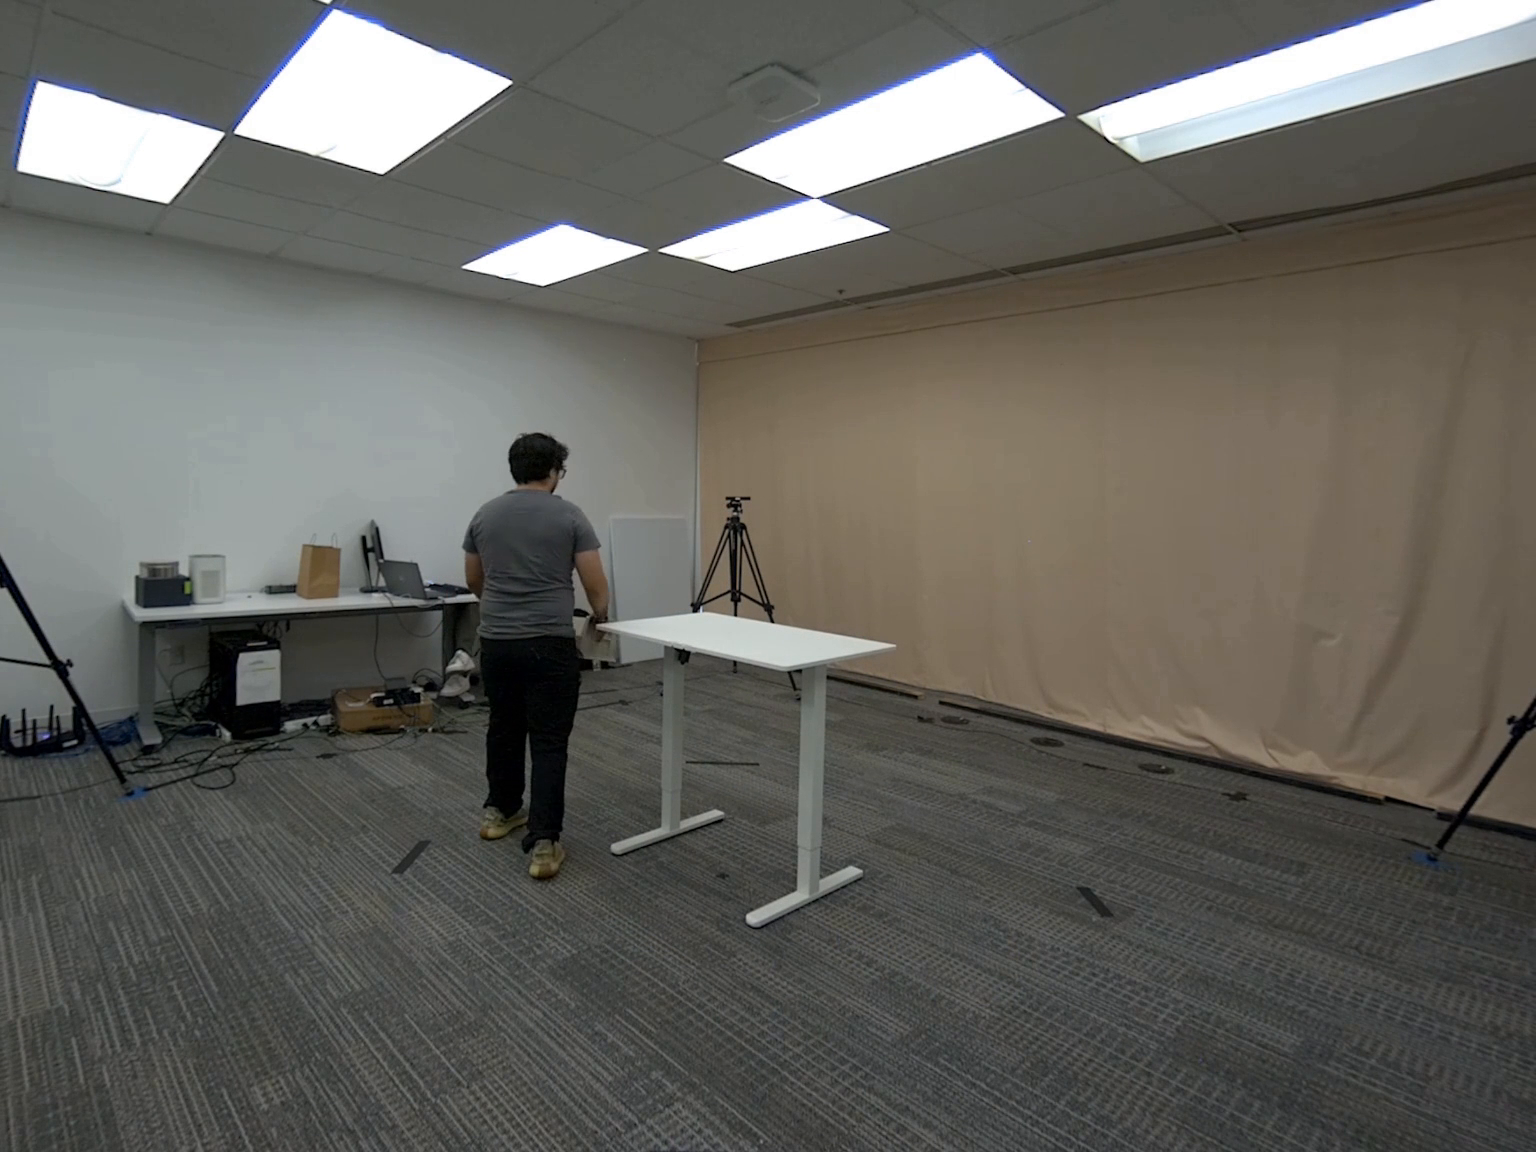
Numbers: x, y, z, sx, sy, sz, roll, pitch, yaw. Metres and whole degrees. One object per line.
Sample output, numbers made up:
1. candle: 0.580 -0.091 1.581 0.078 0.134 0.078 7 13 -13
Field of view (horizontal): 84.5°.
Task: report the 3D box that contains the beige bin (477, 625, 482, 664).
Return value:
1. beige bin: -0.902 0.250 3.600 0.428 0.190 0.370 2 -9 16
